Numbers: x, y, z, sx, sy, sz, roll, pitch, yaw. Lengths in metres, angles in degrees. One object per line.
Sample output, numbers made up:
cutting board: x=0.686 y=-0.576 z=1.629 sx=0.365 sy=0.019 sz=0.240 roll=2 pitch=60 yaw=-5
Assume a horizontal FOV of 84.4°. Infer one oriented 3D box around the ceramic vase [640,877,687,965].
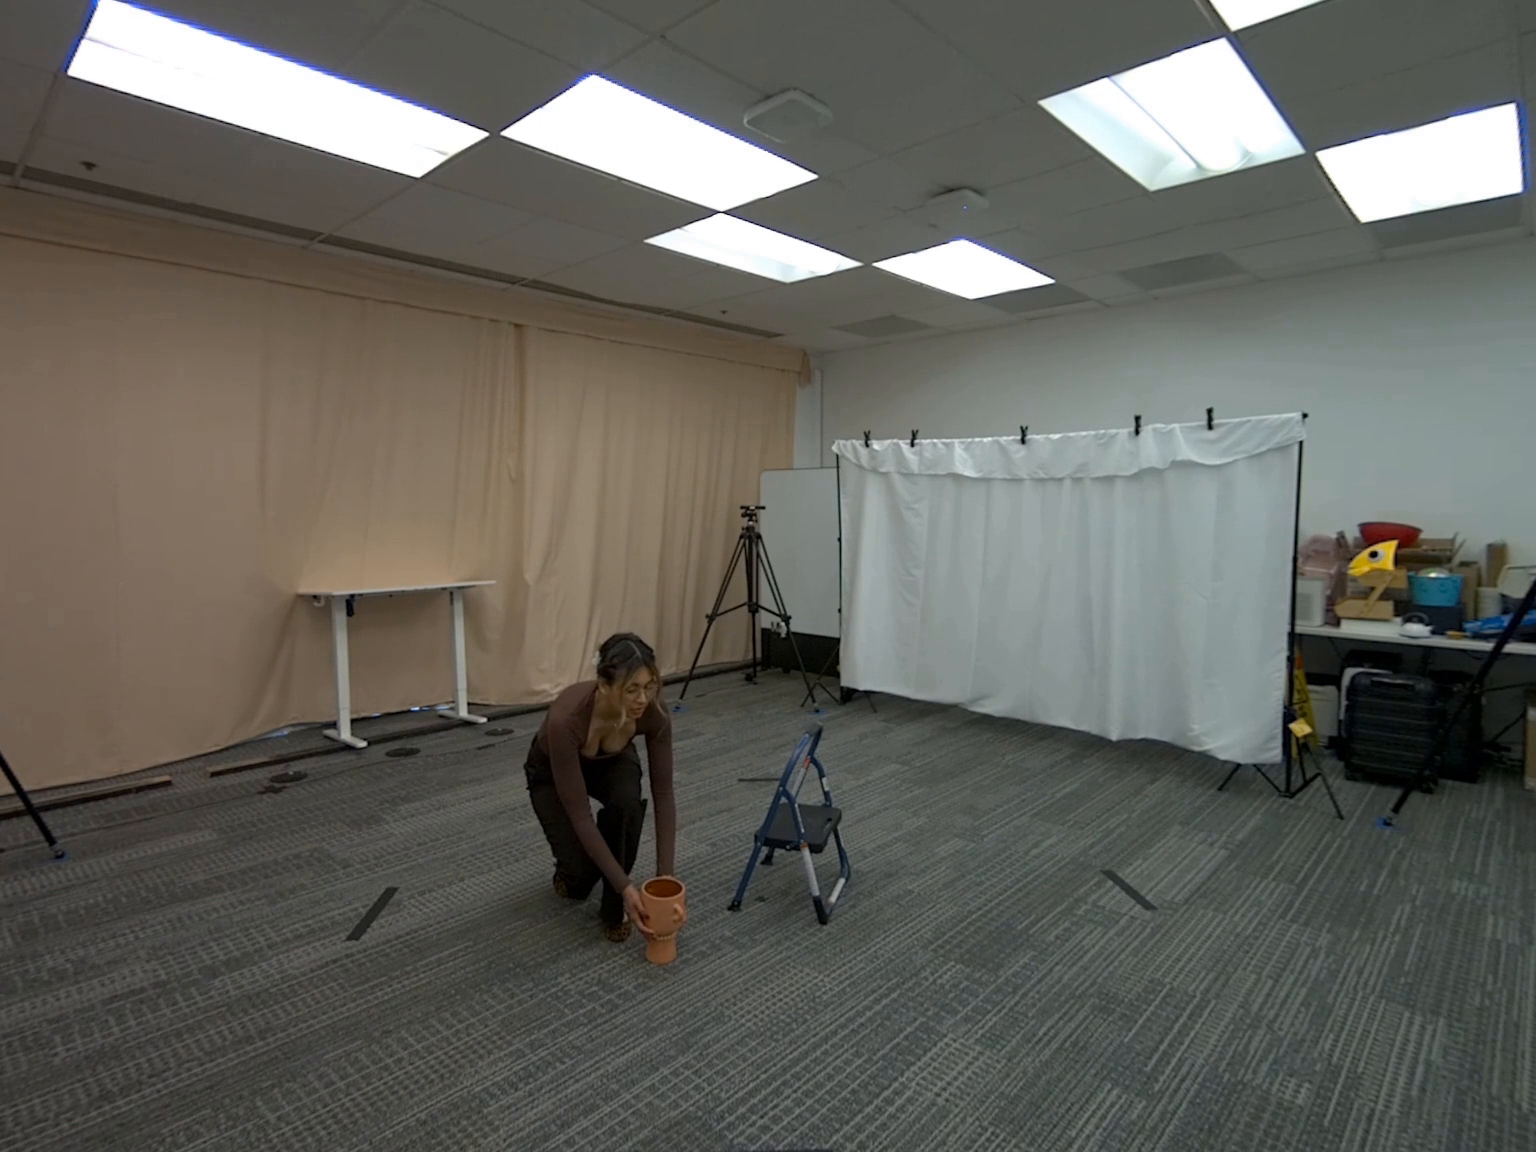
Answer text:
ceramic vase: x=-0.325 y=1.061 z=2.589 sx=0.133 sy=0.219 sz=0.161 roll=0 pitch=8 yaw=-10
